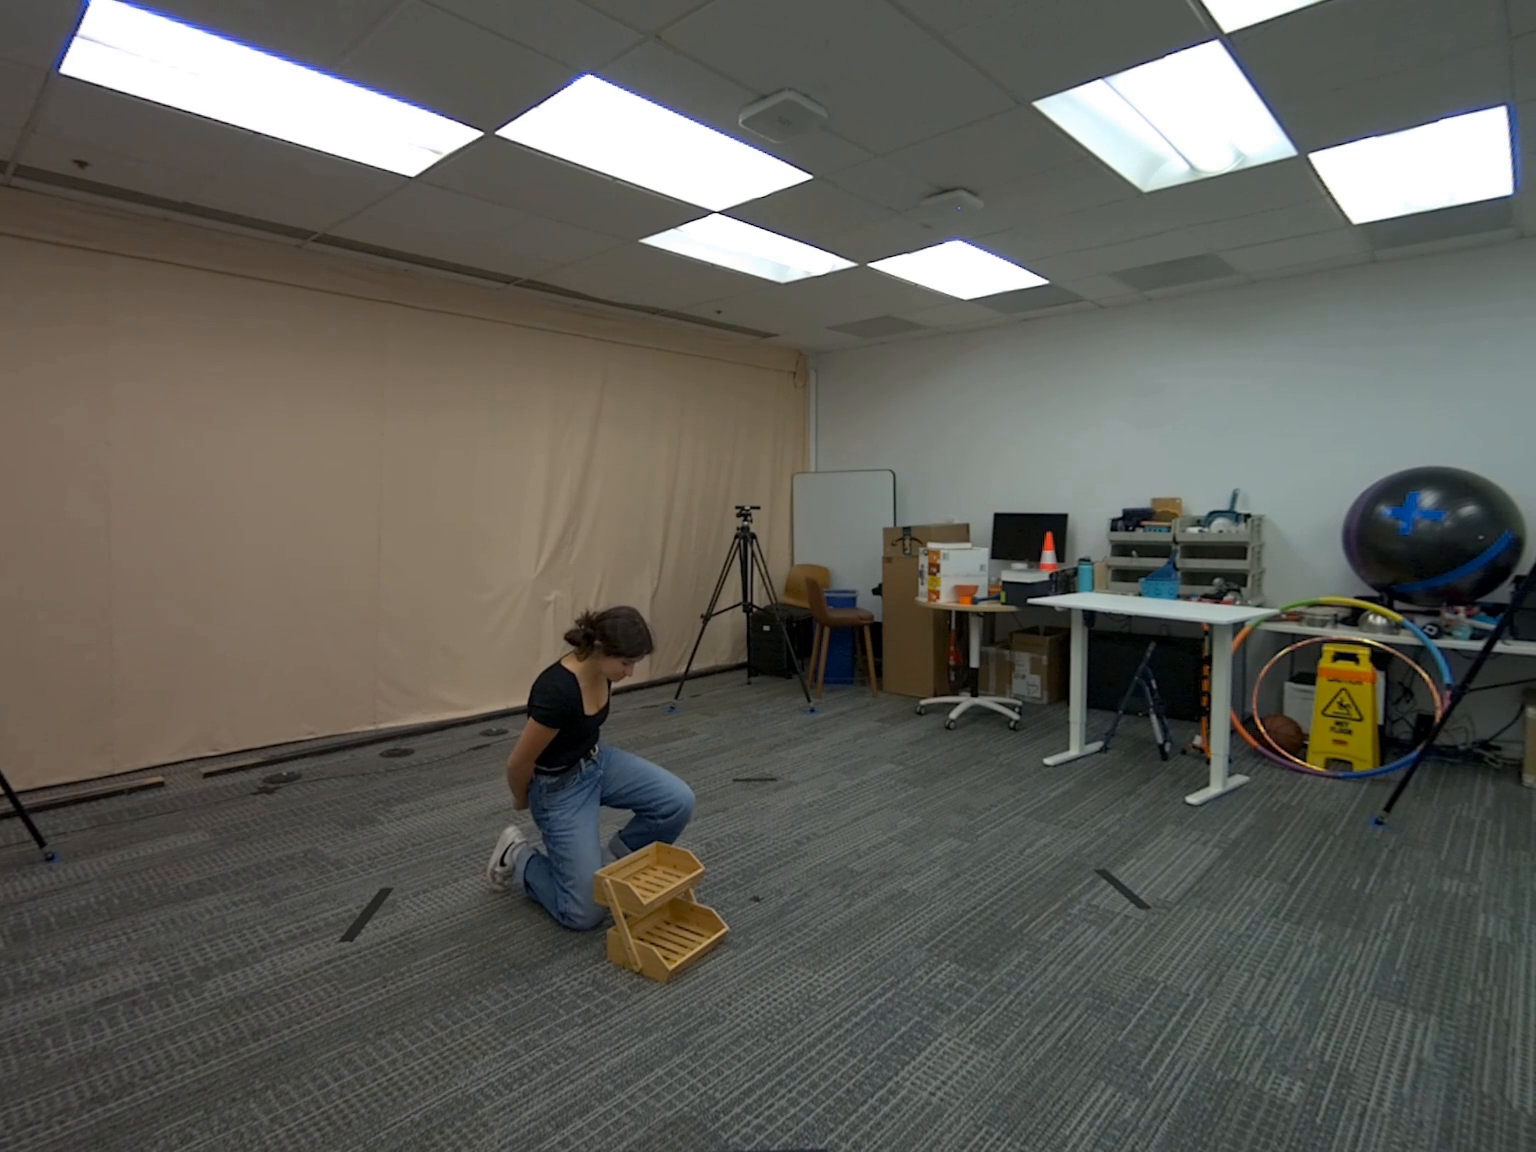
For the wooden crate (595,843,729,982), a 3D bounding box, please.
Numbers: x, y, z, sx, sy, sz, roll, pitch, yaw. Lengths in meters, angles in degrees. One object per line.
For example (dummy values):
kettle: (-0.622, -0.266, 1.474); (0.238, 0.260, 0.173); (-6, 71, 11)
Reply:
wooden crate: (-0.326, 1.044, 2.639); (0.311, 0.273, 0.315); (1, 5, 34)
